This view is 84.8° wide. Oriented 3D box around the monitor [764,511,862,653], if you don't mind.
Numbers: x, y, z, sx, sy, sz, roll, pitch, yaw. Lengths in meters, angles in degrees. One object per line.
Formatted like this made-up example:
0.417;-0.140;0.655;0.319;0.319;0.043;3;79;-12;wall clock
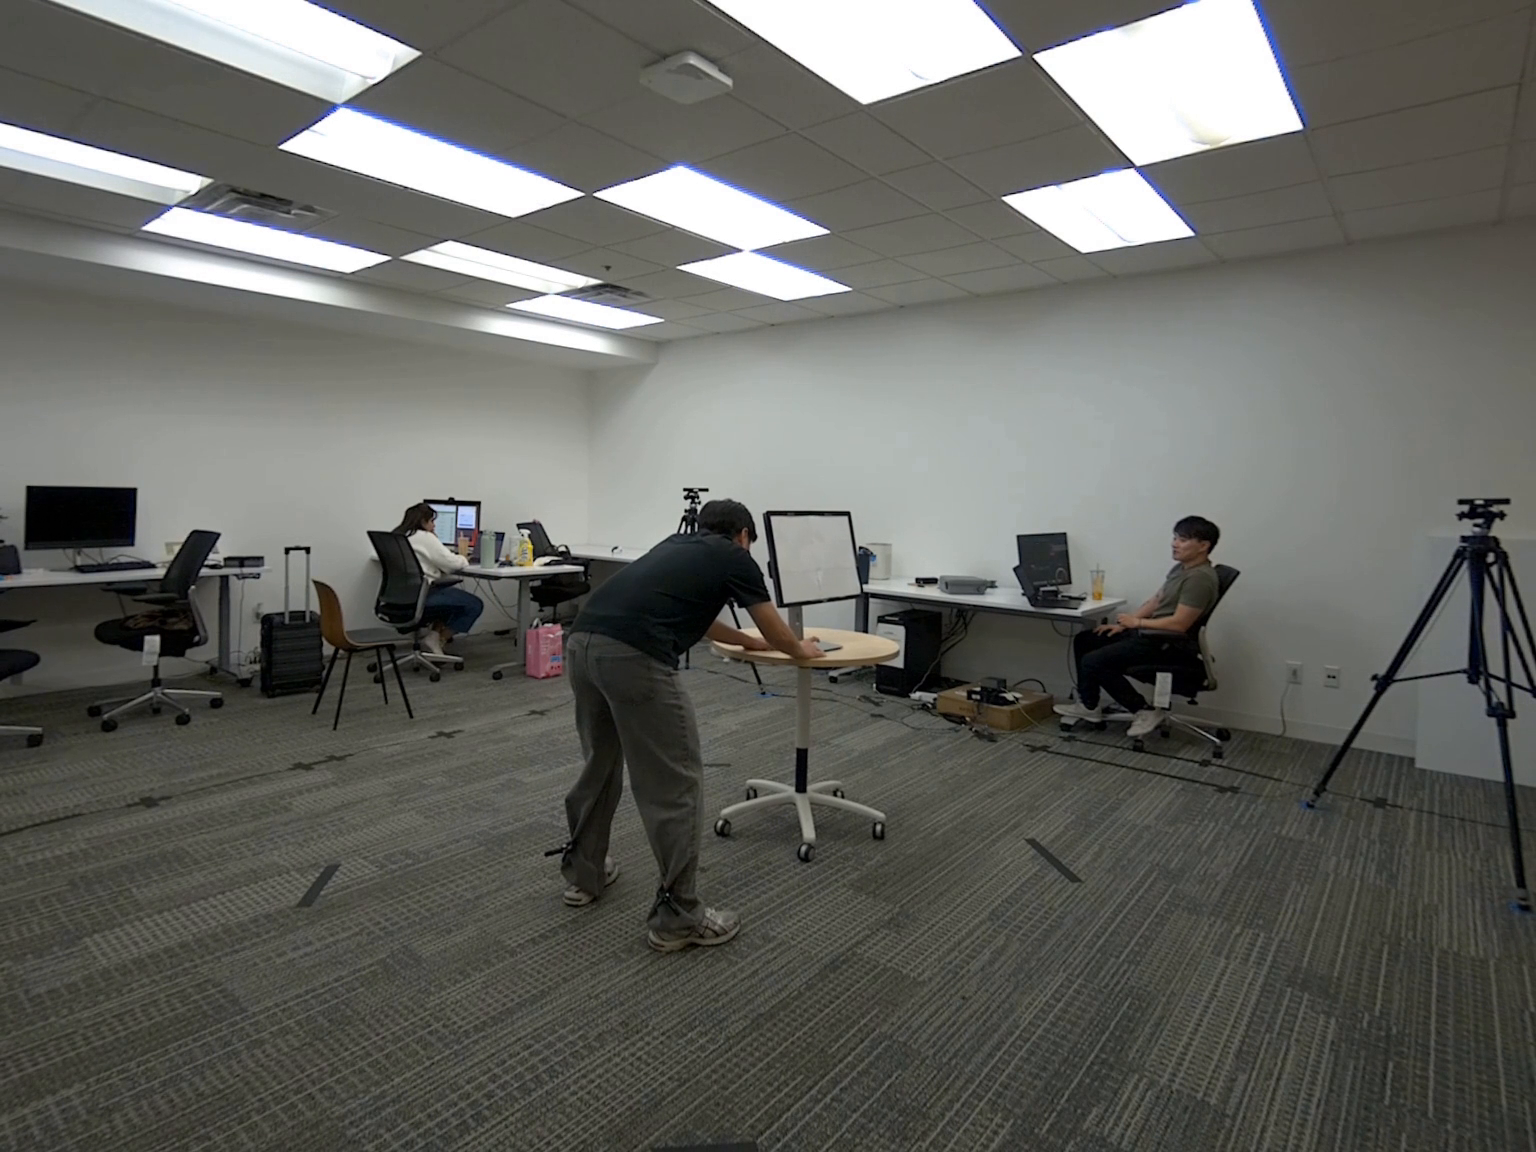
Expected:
0.130;0.014;3.377;0.216;0.555;0.548;-5;-1;39;monitor
